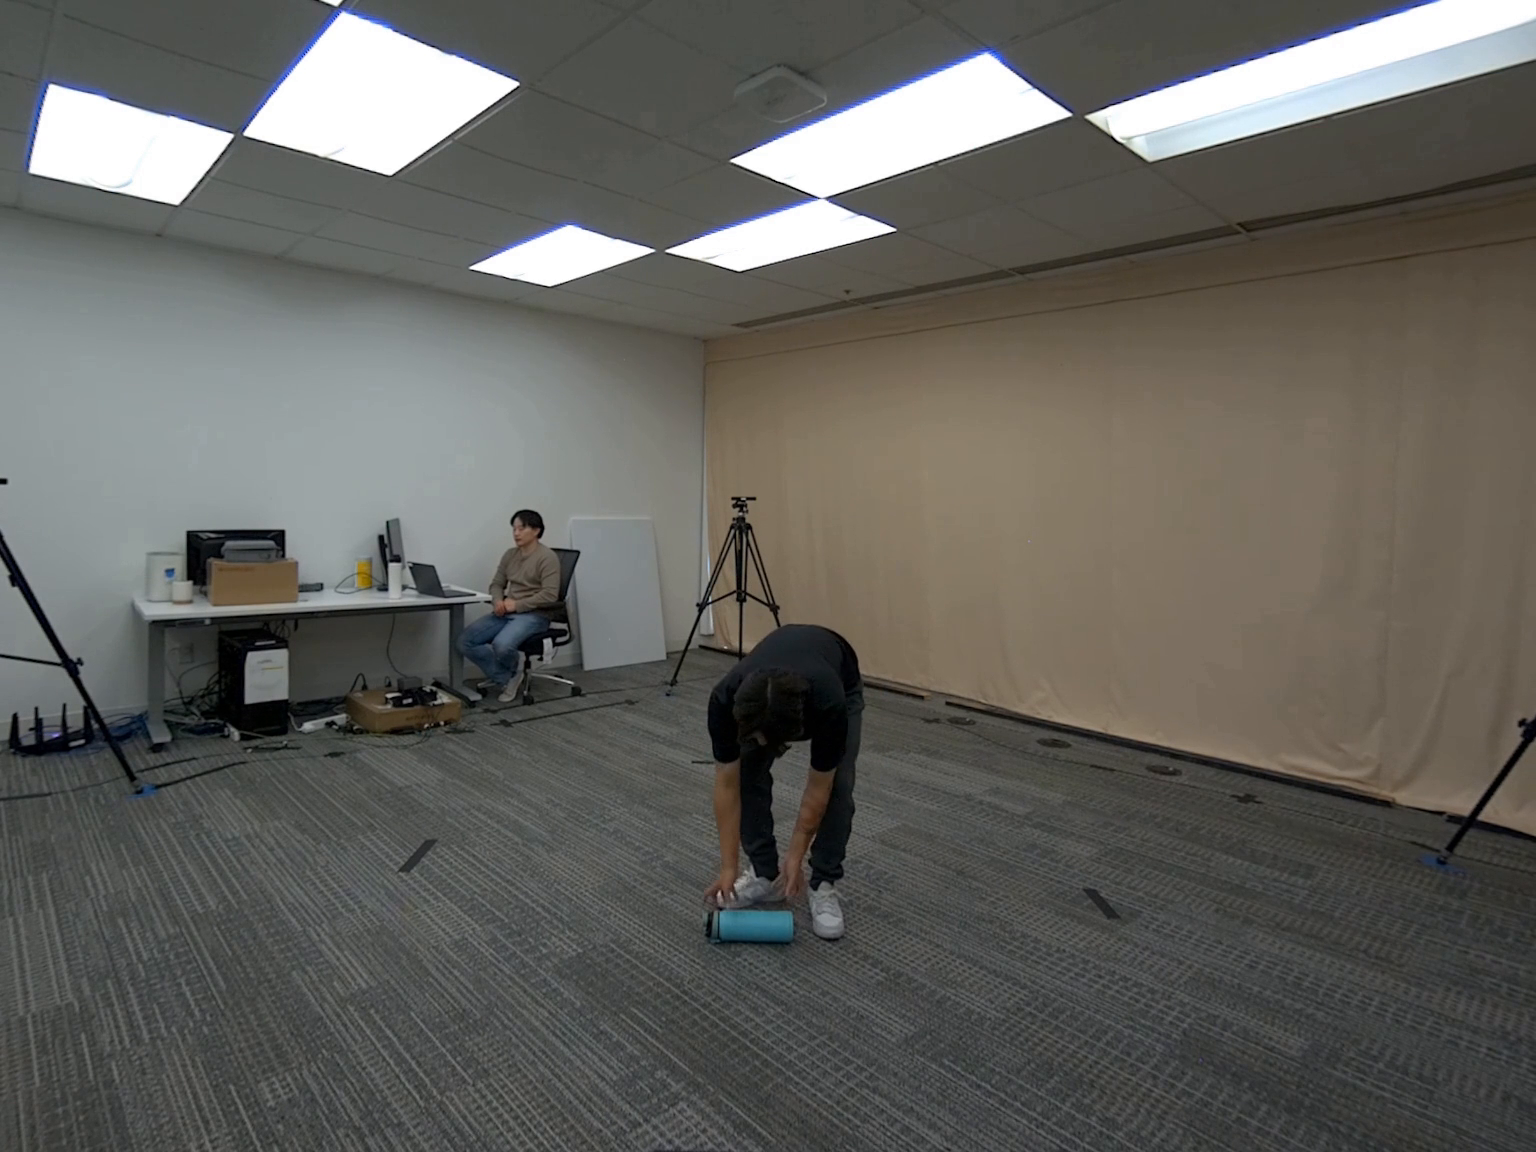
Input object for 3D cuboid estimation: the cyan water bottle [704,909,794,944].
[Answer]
[{"bbox_3d":[-0.068,1.100,2.651,0.283,0.092,0.092,1,4,0],"label":"cyan water bottle"}]
